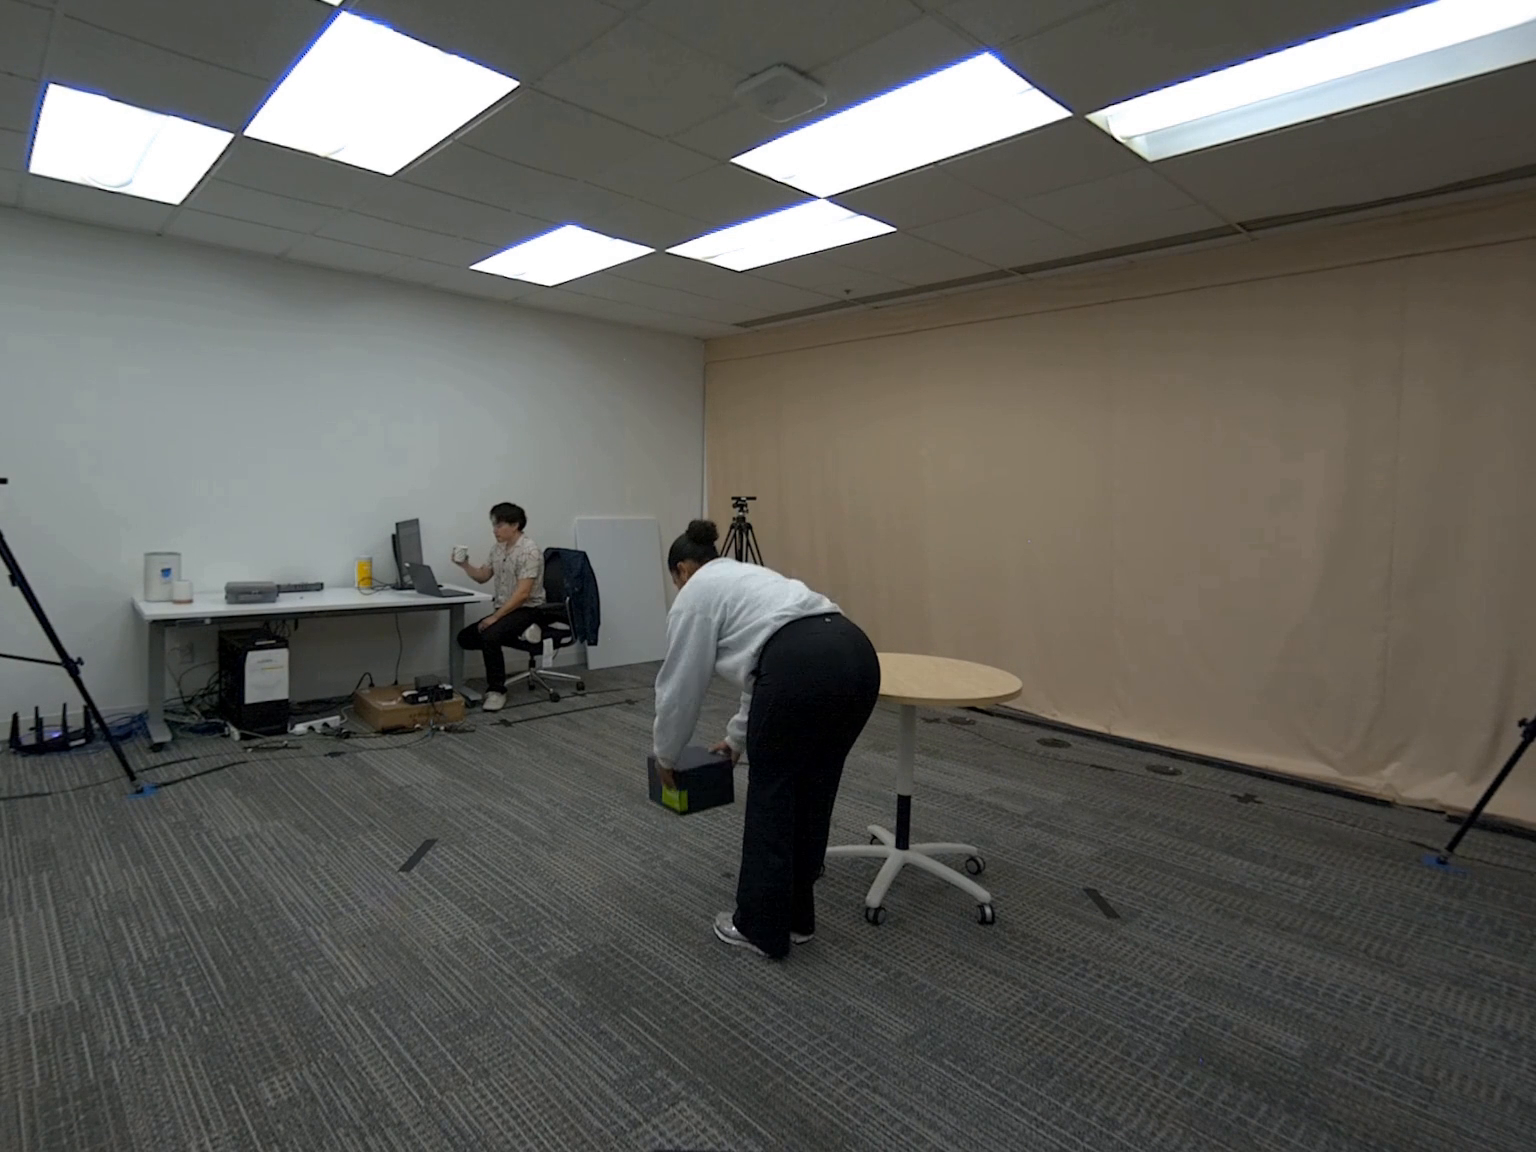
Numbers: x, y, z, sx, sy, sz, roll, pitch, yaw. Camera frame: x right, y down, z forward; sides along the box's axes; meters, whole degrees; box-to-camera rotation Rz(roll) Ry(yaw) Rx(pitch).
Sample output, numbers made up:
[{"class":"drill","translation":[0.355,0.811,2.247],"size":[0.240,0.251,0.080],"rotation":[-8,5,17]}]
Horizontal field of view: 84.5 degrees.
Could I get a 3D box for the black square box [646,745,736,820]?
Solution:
[{"class":"black square box","translation":[-0.271,0.708,2.931],"size":[0.212,0.155,0.233],"rotation":[-5,5,-34]}]
